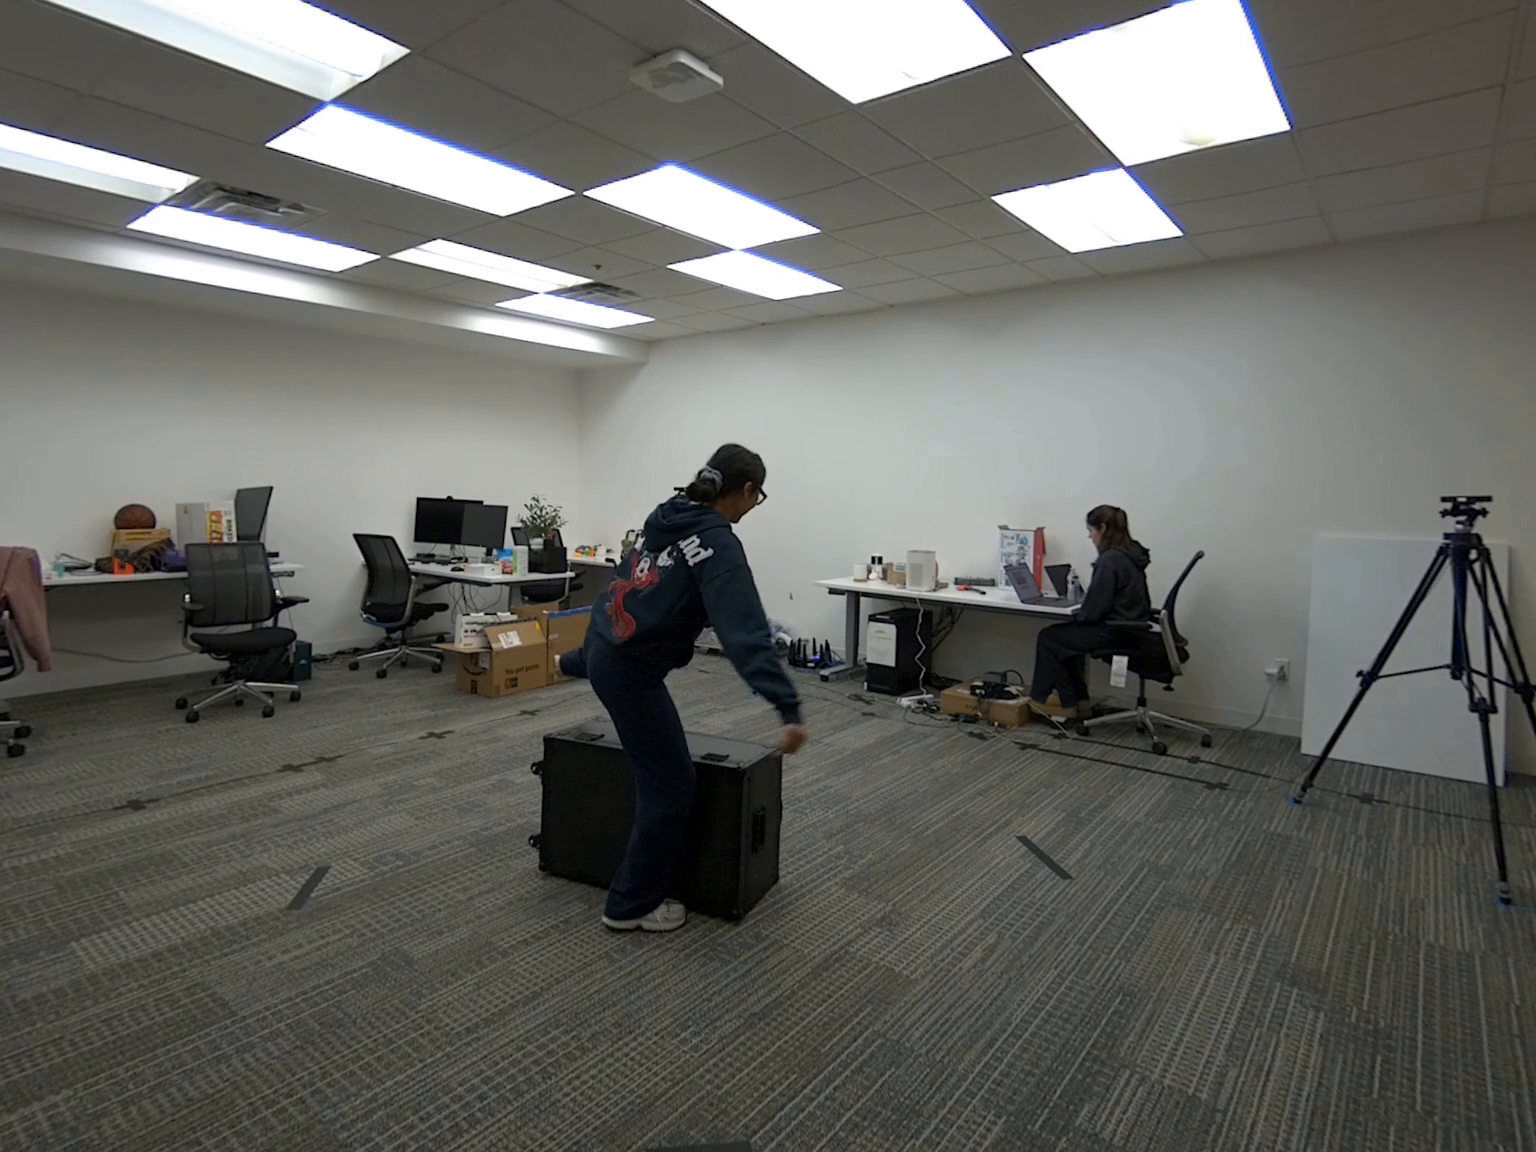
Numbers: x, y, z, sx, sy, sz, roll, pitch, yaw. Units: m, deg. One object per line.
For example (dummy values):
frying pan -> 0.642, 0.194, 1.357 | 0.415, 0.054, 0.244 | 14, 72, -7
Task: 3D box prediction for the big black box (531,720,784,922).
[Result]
big black box -> -0.415, 0.815, 3.049 | 0.883, 0.521, 0.387 | 3, 2, 23
